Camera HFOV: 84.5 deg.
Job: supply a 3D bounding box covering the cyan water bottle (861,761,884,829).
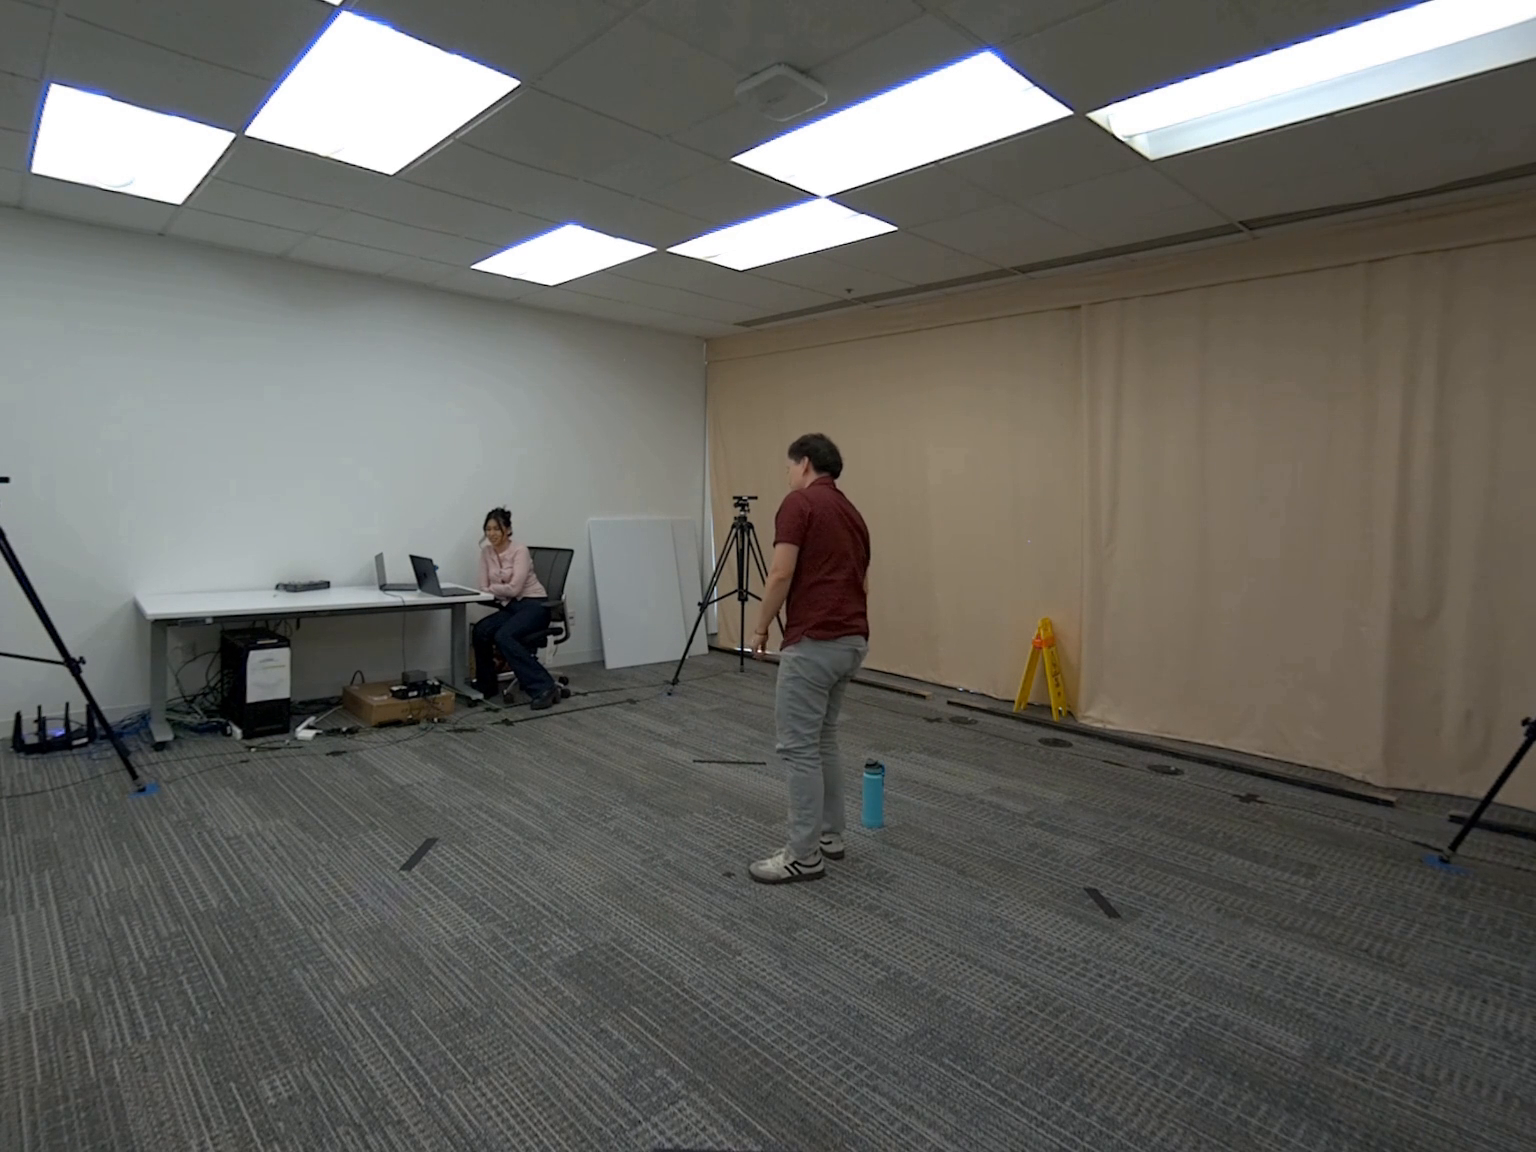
[{"bbox_3d":[0.446,0.932,3.630,0.092,0.283,0.092,3,1,-1],"label":"cyan water bottle"}]
